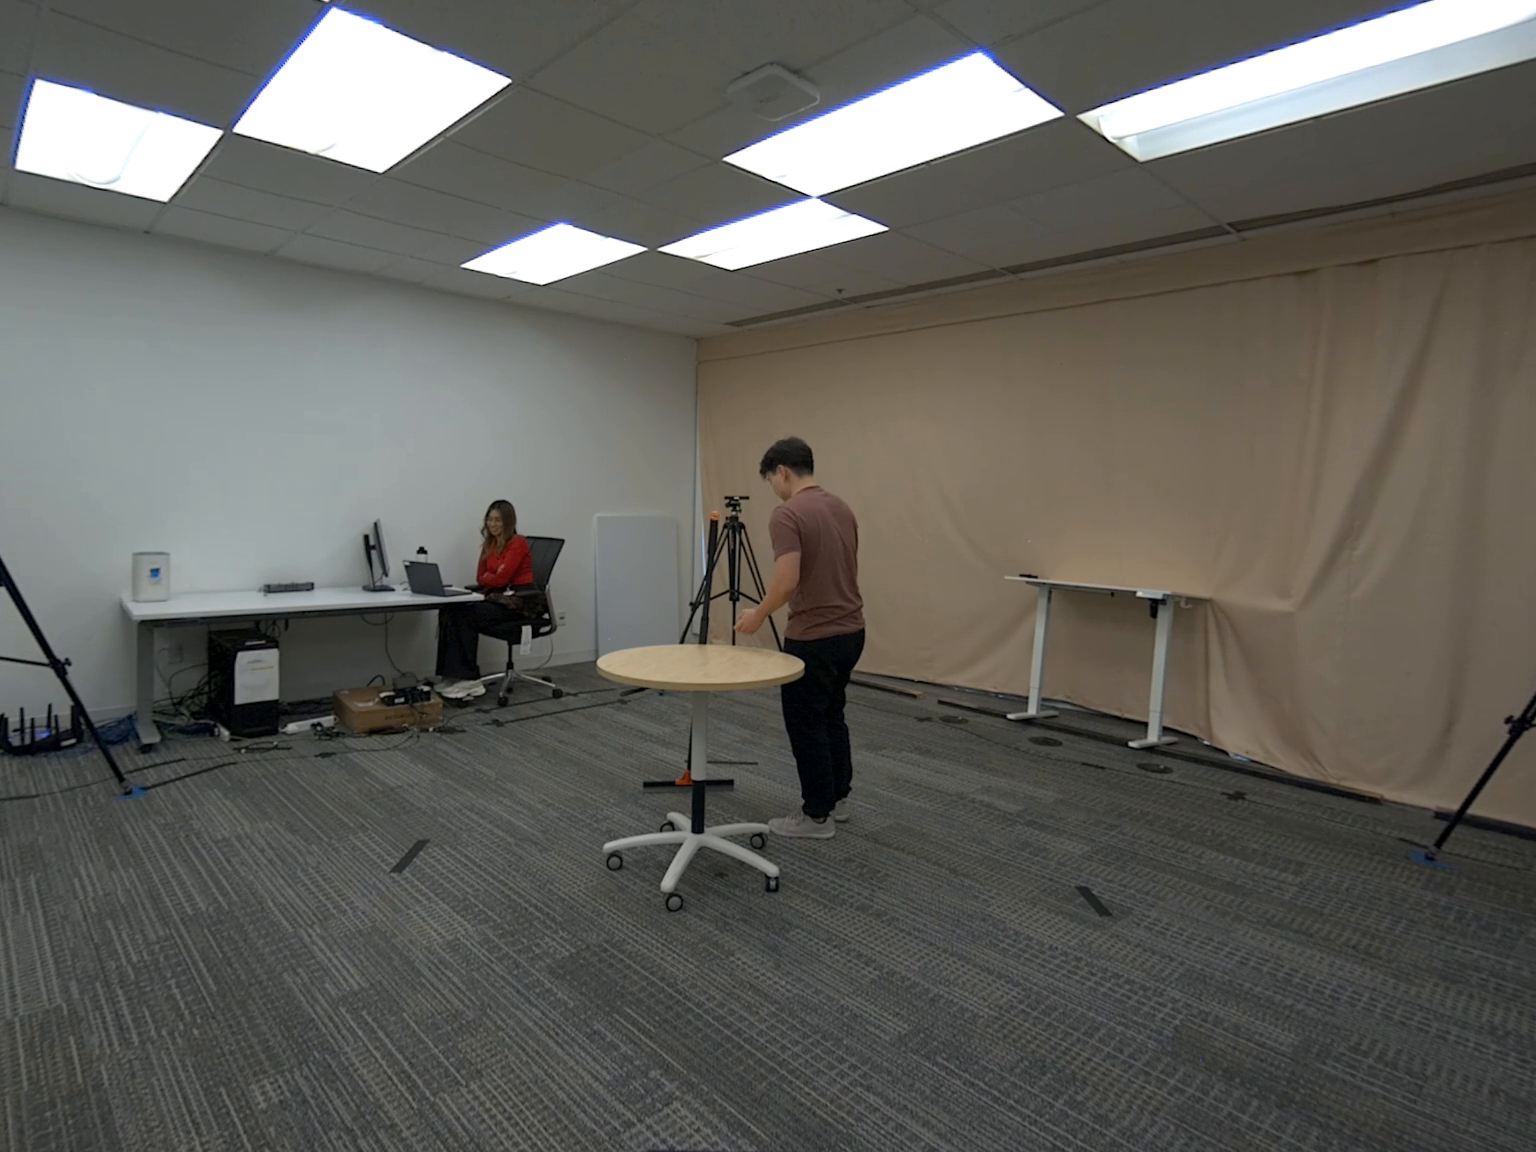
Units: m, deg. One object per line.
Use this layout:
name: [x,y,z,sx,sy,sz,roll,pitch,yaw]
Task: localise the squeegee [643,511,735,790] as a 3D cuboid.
squeegee: [-0.298,0.366,3.597,0.435,1.511,0.054,5,33,-5]
